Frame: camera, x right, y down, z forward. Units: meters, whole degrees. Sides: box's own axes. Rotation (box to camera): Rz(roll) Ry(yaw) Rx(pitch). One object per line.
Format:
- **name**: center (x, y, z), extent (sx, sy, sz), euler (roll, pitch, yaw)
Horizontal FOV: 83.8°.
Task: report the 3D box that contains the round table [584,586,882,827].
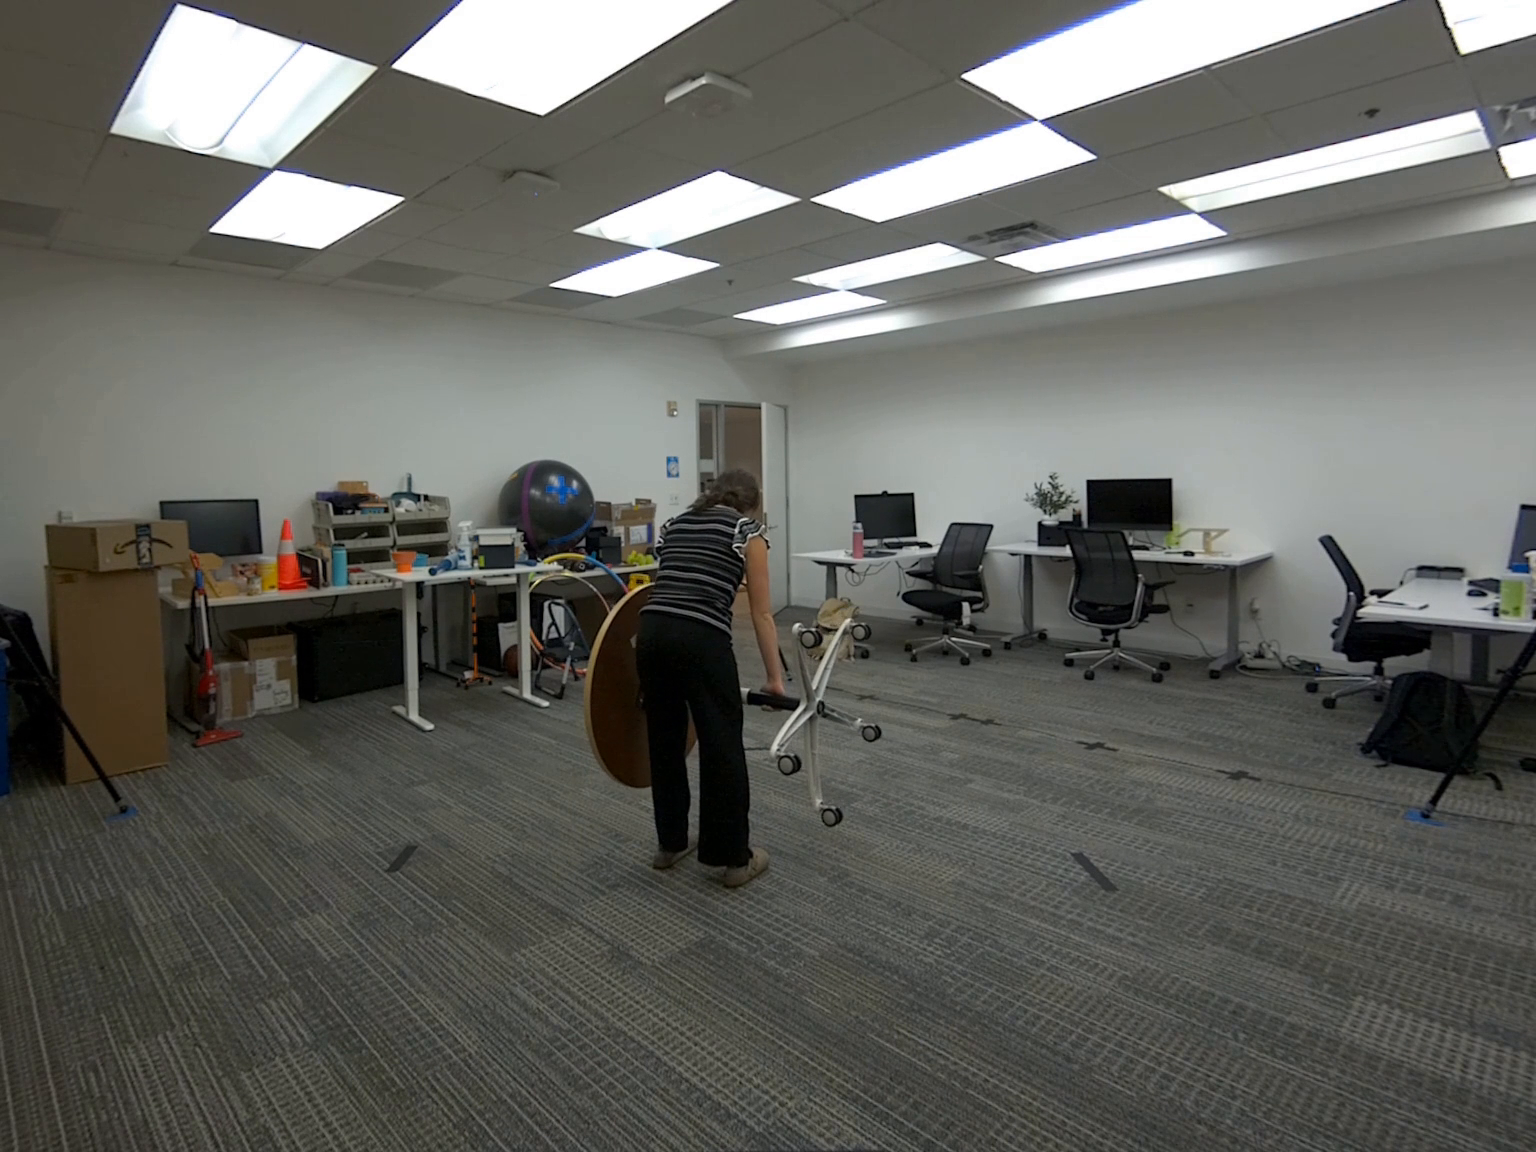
- **round table**: center (-0.094, 0.435, 3.030), extent (0.816, 0.761, 0.746), euler (3, 6, 32)
